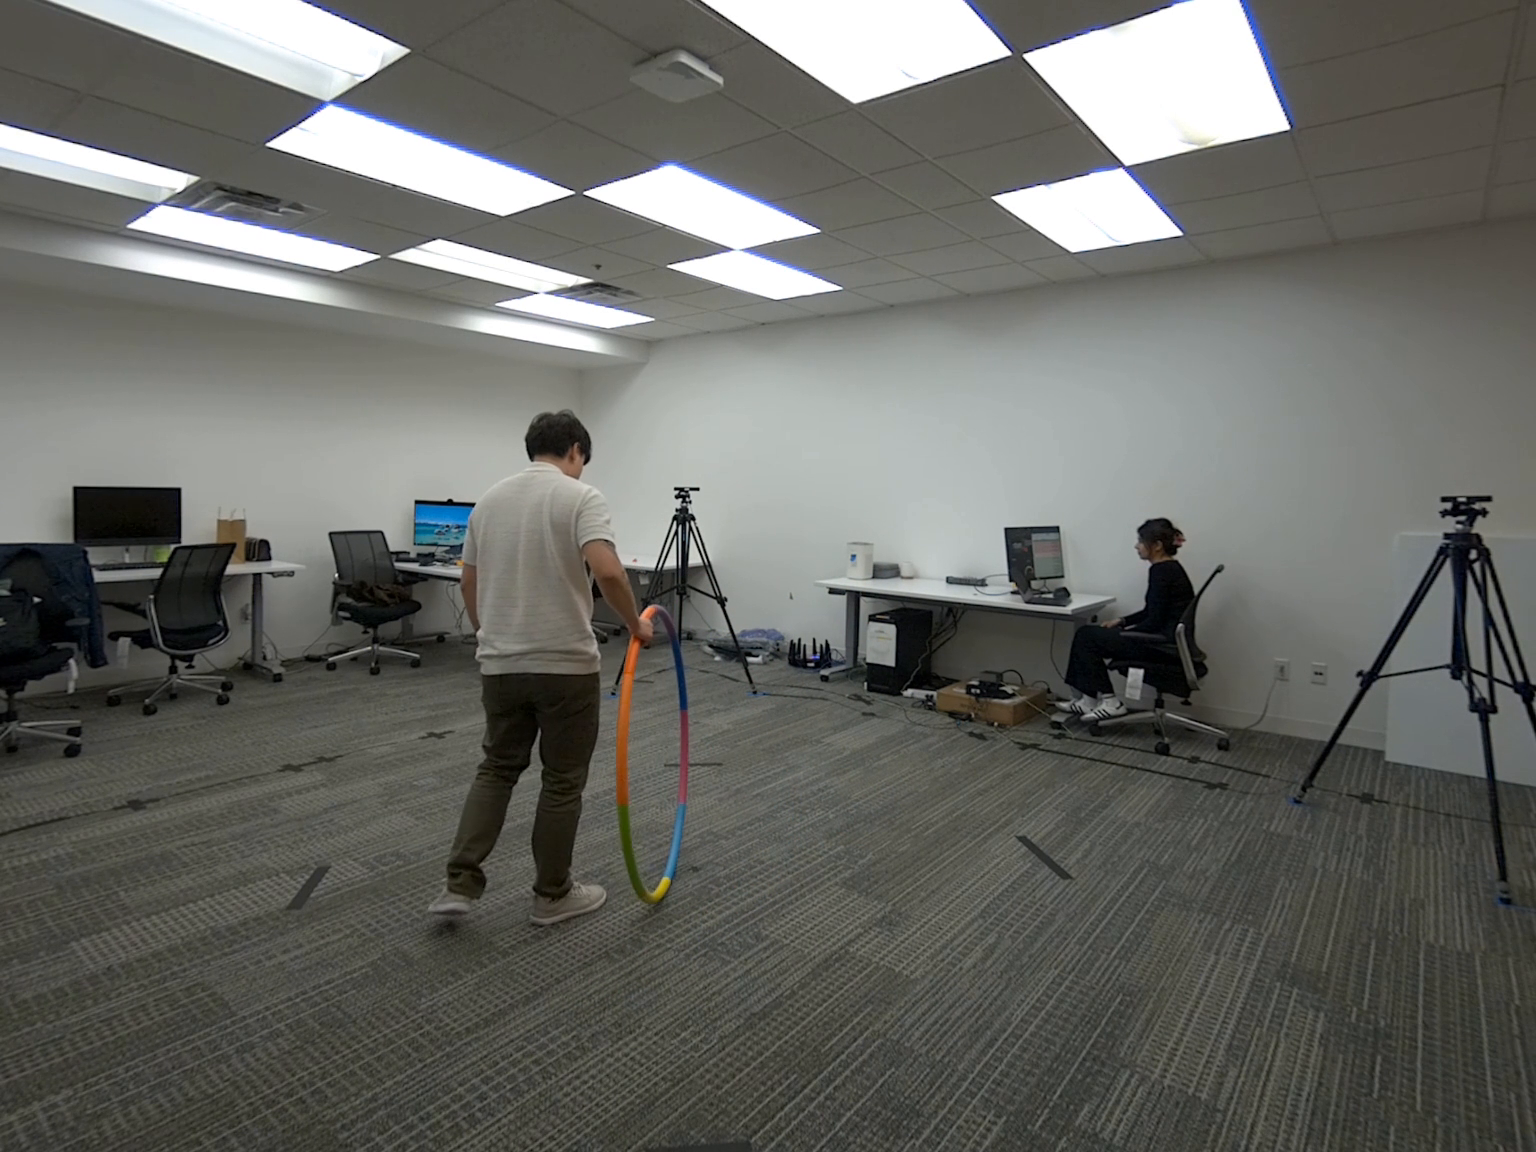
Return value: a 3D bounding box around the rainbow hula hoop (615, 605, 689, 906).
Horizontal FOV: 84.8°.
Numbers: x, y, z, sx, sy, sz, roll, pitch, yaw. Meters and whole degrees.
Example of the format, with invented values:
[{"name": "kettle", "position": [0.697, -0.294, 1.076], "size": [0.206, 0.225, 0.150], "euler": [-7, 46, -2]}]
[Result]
[{"name": "rainbow hula hoop", "position": [-0.386, 0.595, 2.936], "size": [0.036, 0.976, 0.975], "euler": [-3, 4, 5]}]
